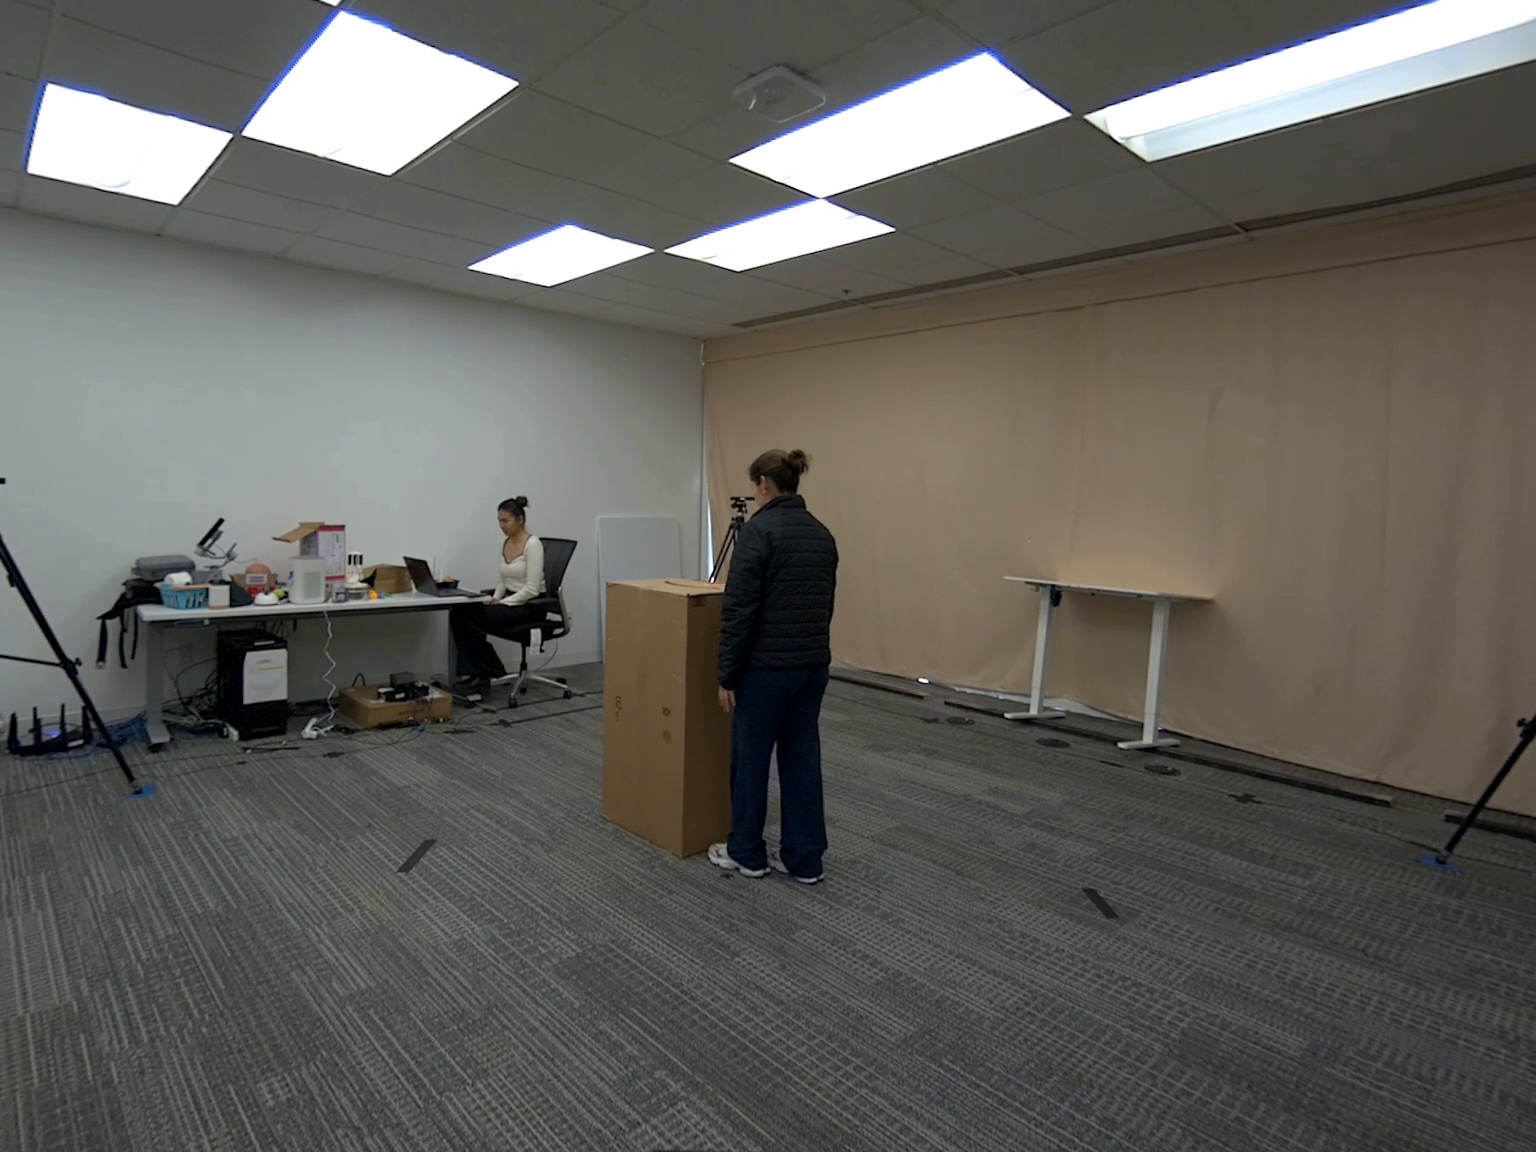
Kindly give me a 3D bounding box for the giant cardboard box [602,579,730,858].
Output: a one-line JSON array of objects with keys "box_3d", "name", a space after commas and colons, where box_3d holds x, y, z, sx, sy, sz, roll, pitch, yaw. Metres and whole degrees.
[{"box_3d": [-0.372, 0.553, 3.559, 0.416, 1.023, 0.592, -2, 5, -43], "name": "giant cardboard box"}]
